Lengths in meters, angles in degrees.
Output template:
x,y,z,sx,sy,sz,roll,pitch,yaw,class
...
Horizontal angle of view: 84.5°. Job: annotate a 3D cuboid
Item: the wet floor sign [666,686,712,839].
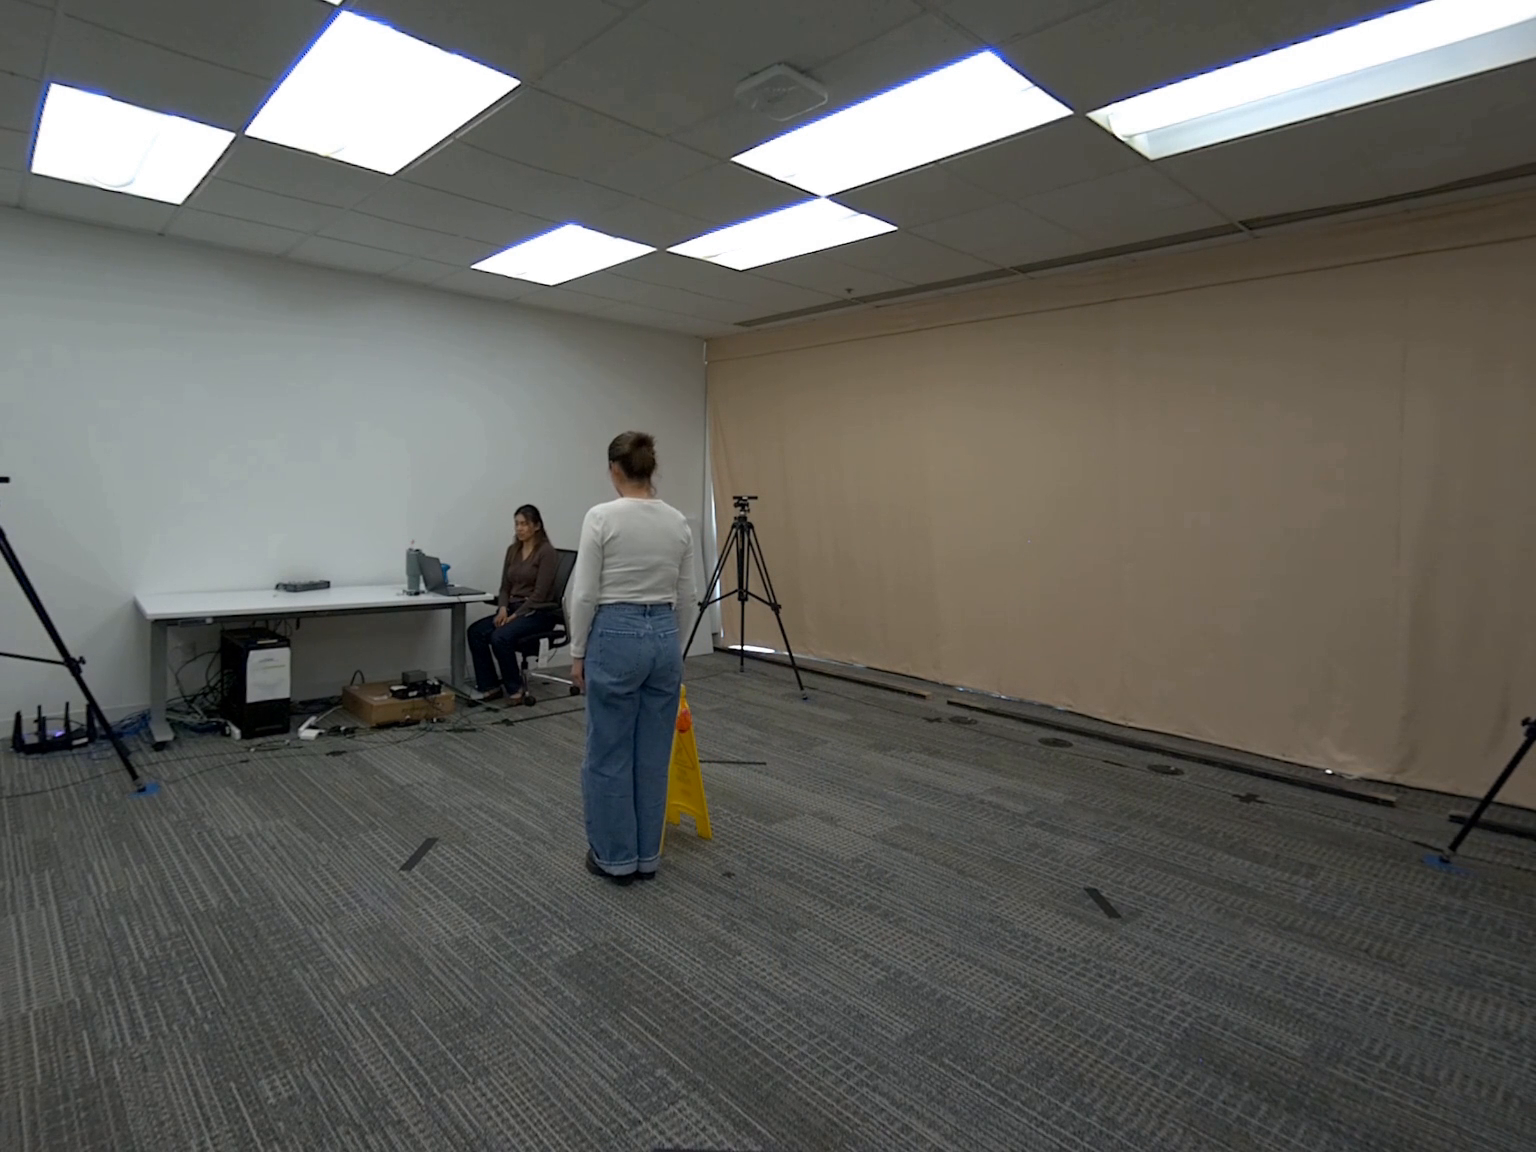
x,y,z,sx,sy,sz,roll,pitch,yaw,class
-0.419,0.748,3.416,0.283,0.645,0.289,-1,4,-44,wet floor sign
